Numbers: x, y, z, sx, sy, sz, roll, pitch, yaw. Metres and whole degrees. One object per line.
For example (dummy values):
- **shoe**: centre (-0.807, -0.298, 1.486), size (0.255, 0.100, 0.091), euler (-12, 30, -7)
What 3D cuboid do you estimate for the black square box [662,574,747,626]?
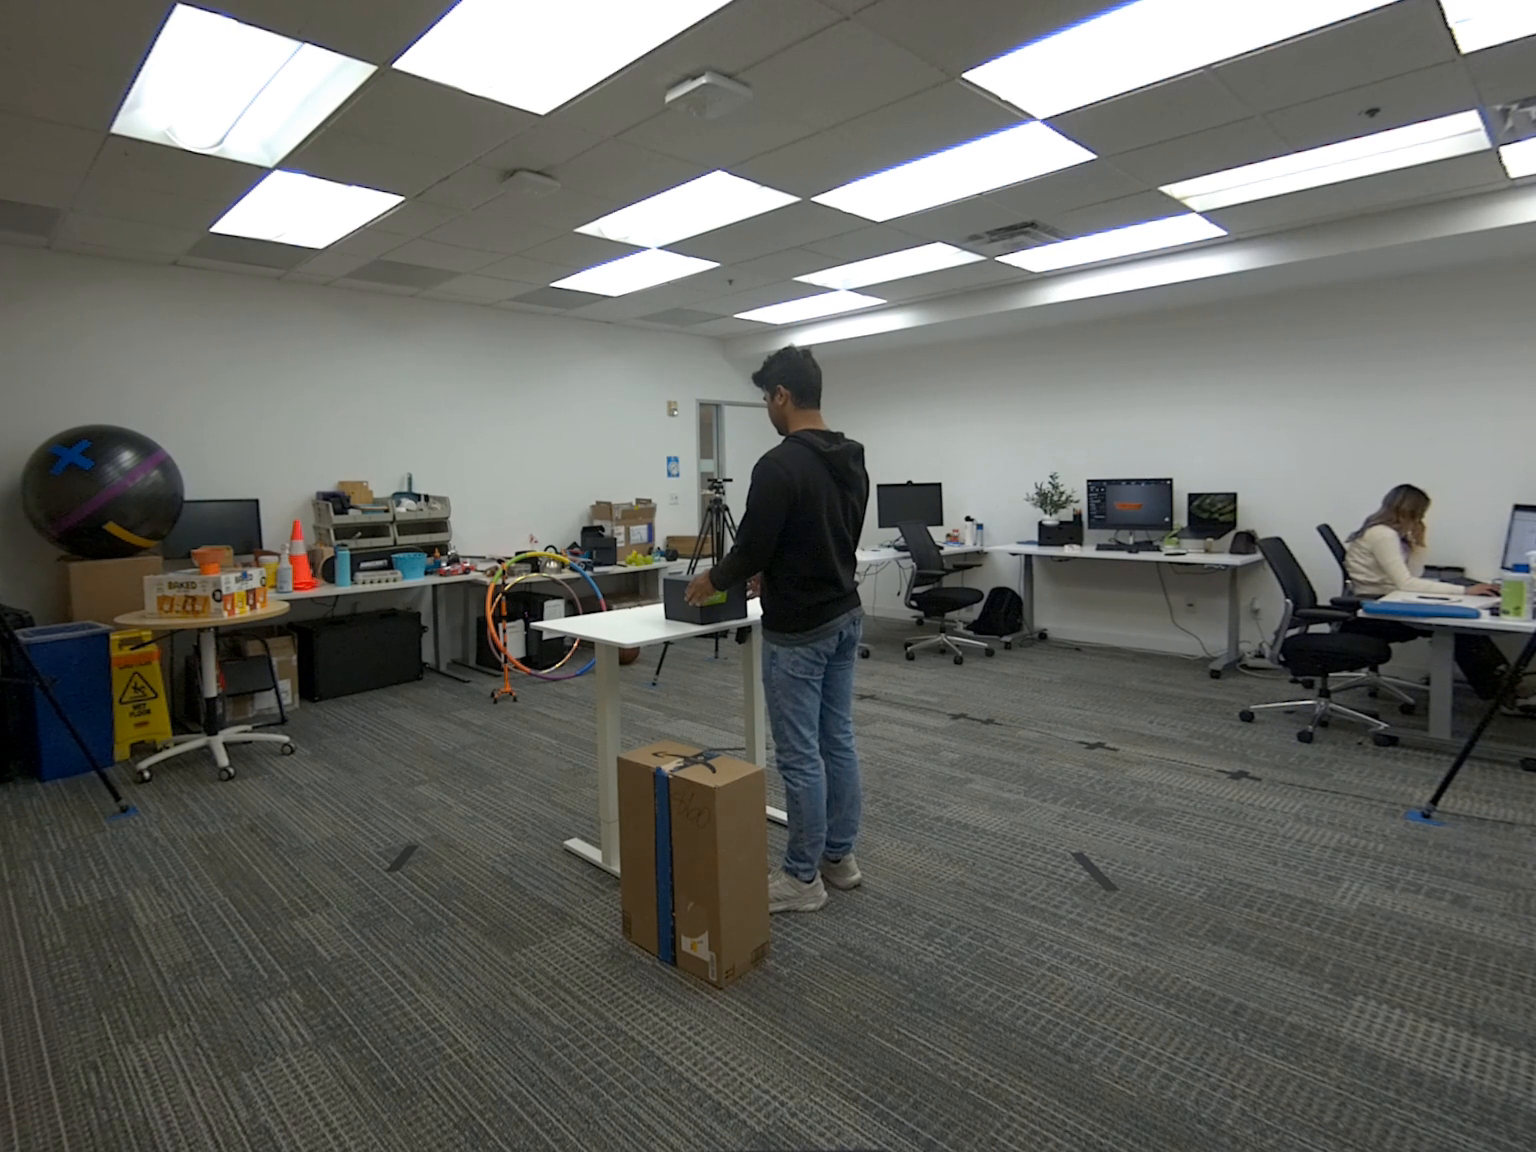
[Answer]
- **black square box**: centre (-0.236, 0.079, 3.168), size (0.222, 0.155, 0.223), euler (-6, 7, -43)
